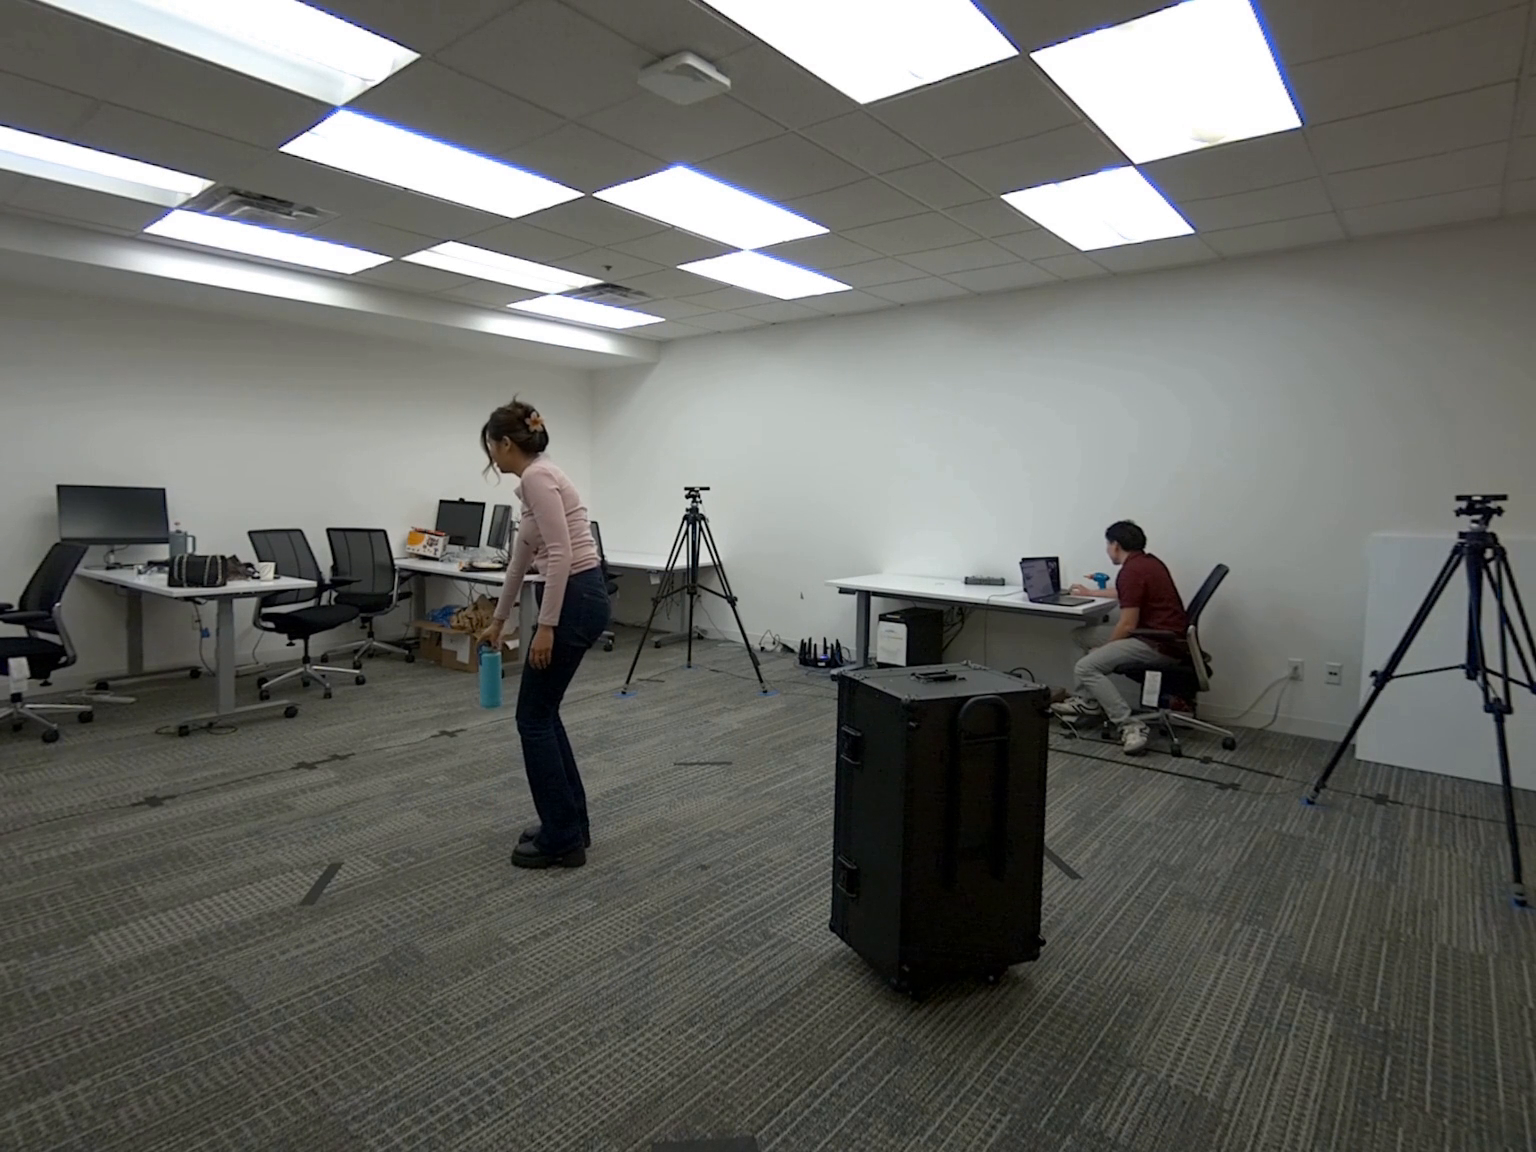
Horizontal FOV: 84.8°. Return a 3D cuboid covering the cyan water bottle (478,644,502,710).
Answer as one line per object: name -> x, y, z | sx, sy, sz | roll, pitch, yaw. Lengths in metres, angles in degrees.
cyan water bottle -> -1.164, 0.392, 3.492 | 0.092, 0.282, 0.093 | 3, 4, -2
